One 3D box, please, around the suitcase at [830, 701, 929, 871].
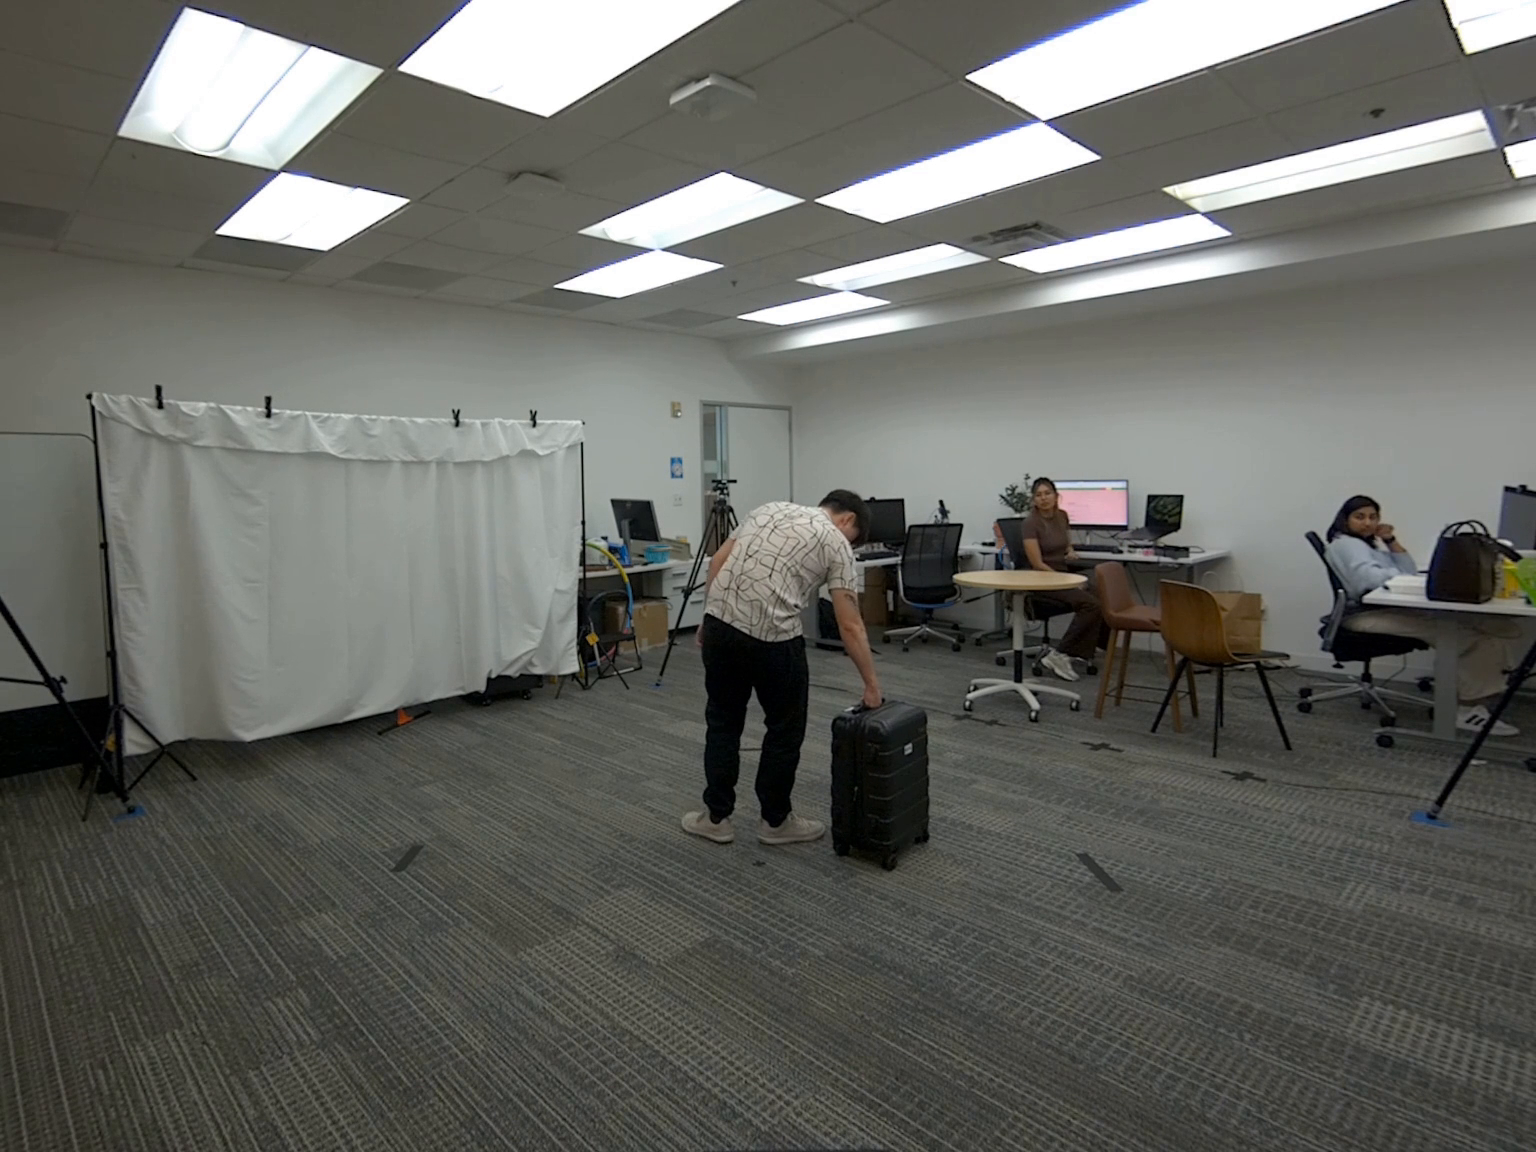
[{"bbox_3d":[0.426,0.750,3.199,0.256,0.547,0.366,3,6,39],"label":"suitcase"}]
